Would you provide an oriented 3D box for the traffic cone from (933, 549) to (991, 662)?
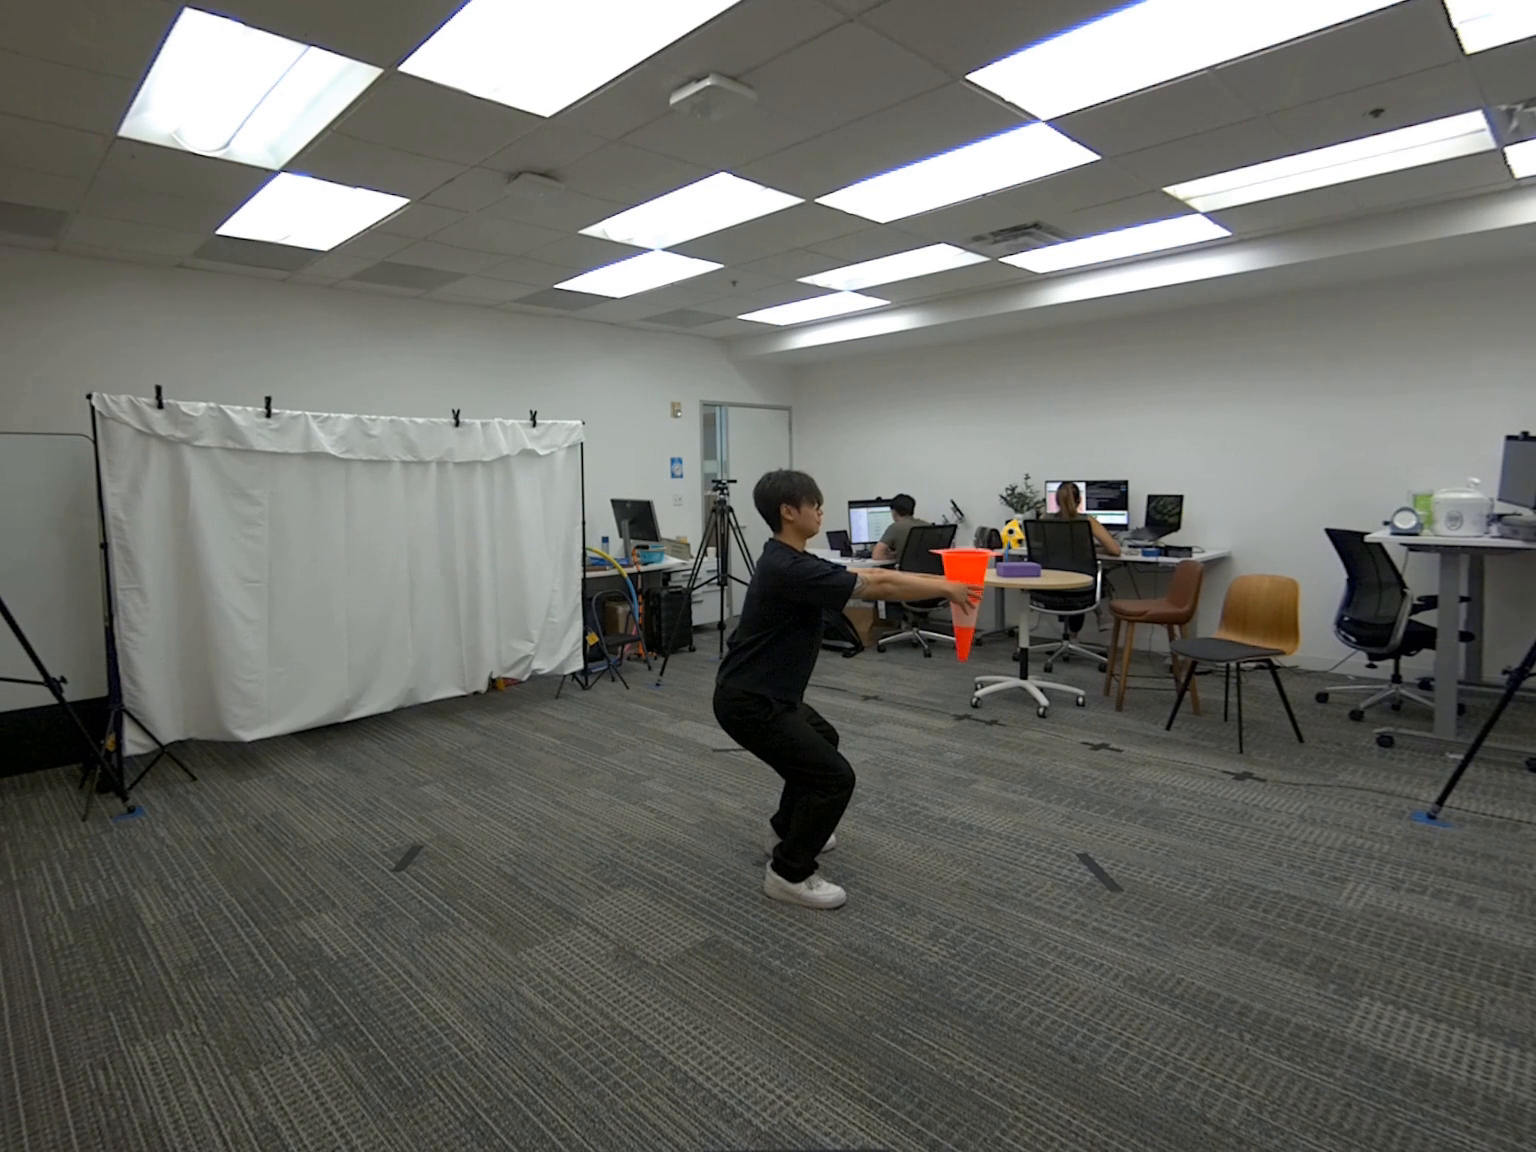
[{"bbox_3d":[0.685,0.107,2.960,0.203,0.383,0.206,-1,3,-3],"label":"traffic cone"}]
